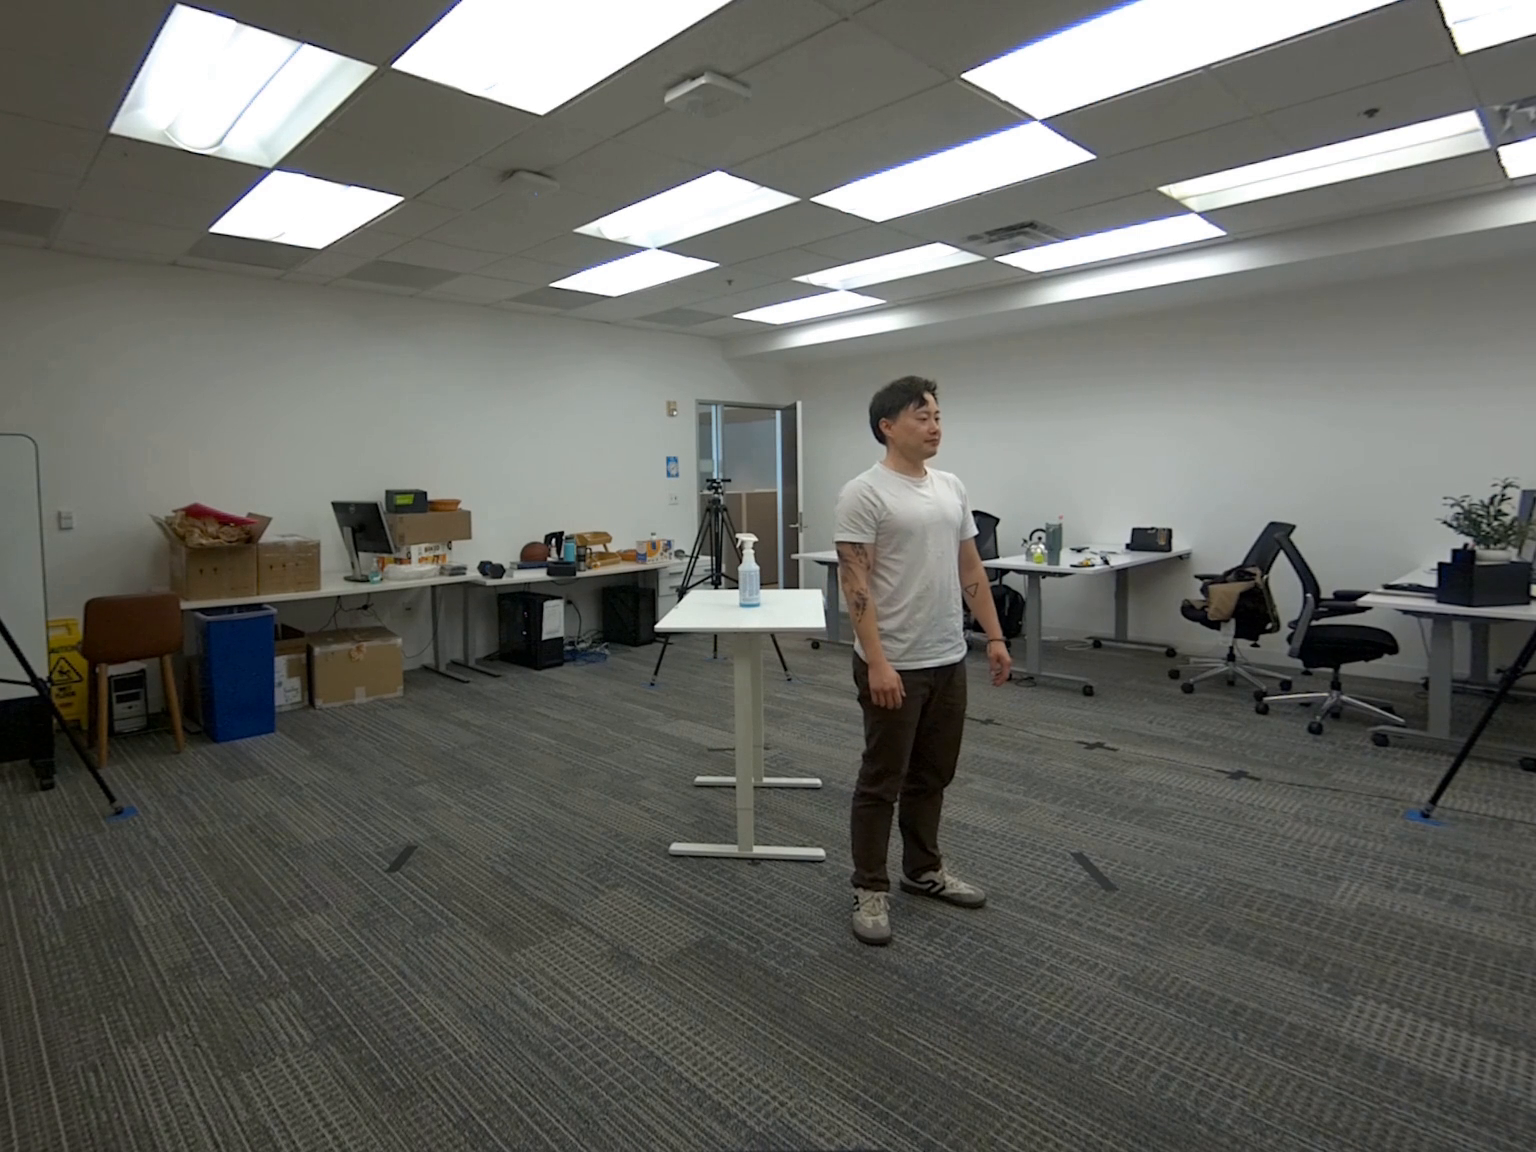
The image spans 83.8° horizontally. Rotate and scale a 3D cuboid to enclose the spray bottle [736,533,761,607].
[{"bbox_3d":[-0.082,-0.026,3.466,0.091,0.296,0.086,-1,4,8],"label":"spray bottle"}]
